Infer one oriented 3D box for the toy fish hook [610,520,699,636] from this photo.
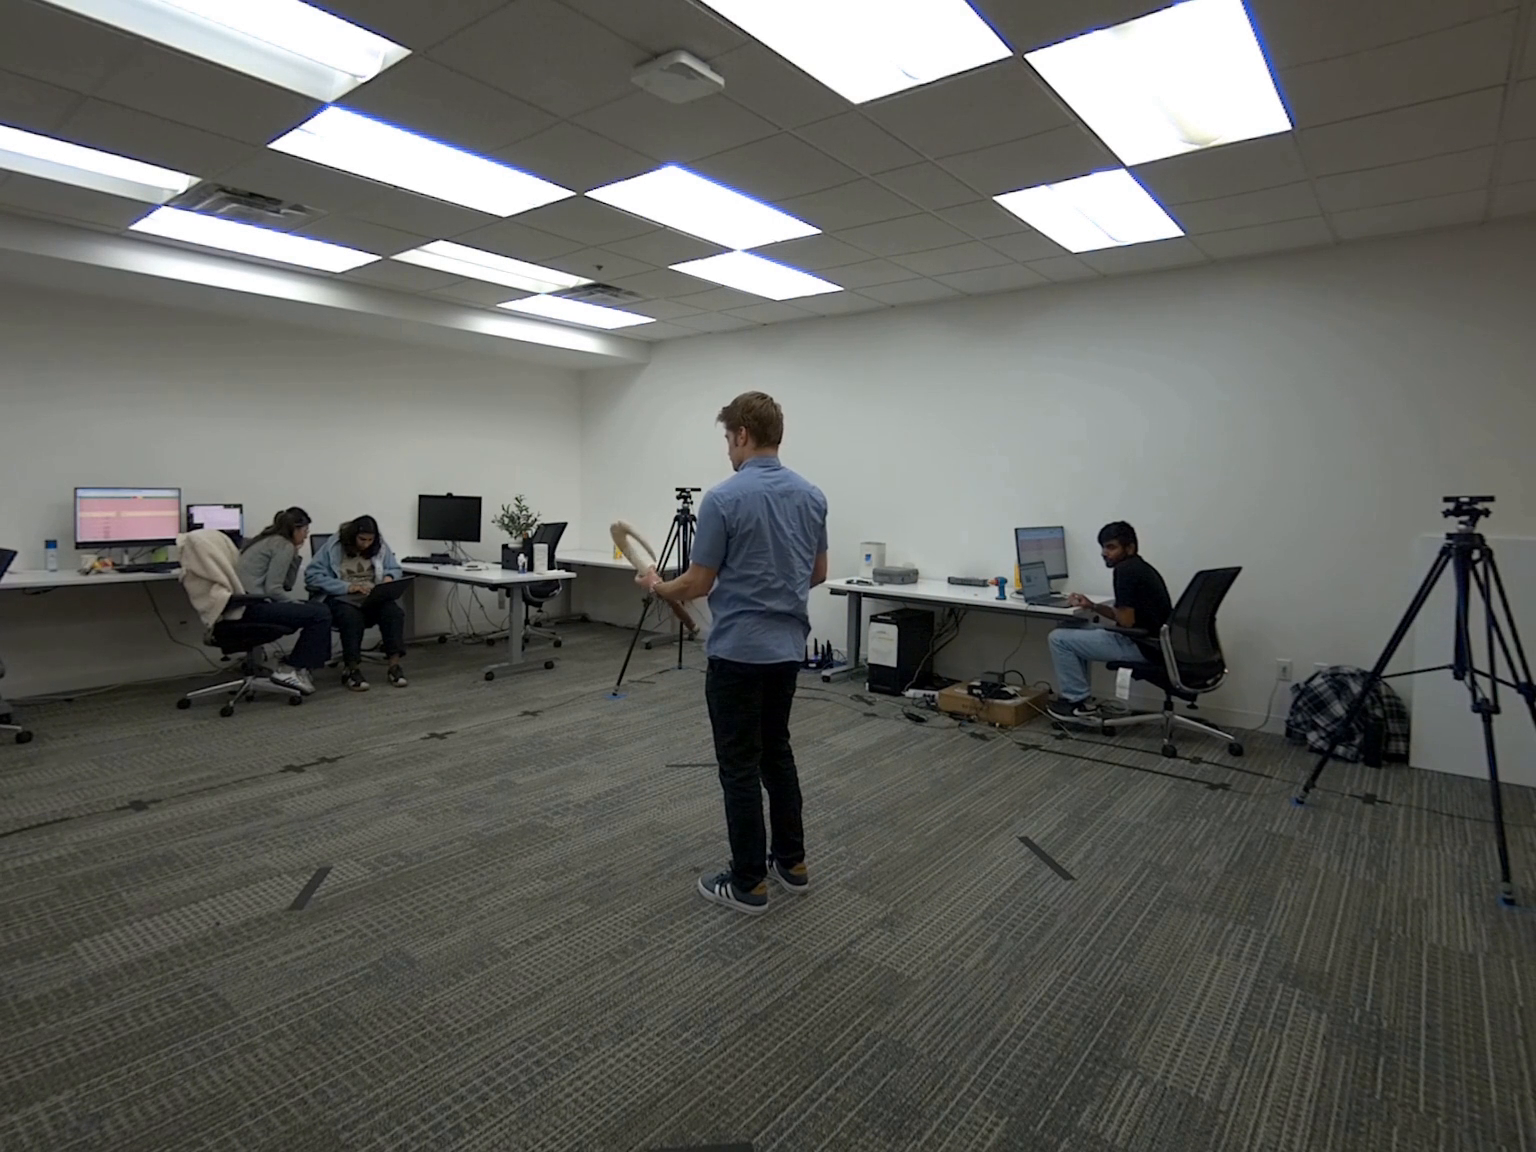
[{"bbox_3d":[-0.404,0.006,3.032,0.048,0.502,0.227,-41,7,-23],"label":"toy fish hook"}]
